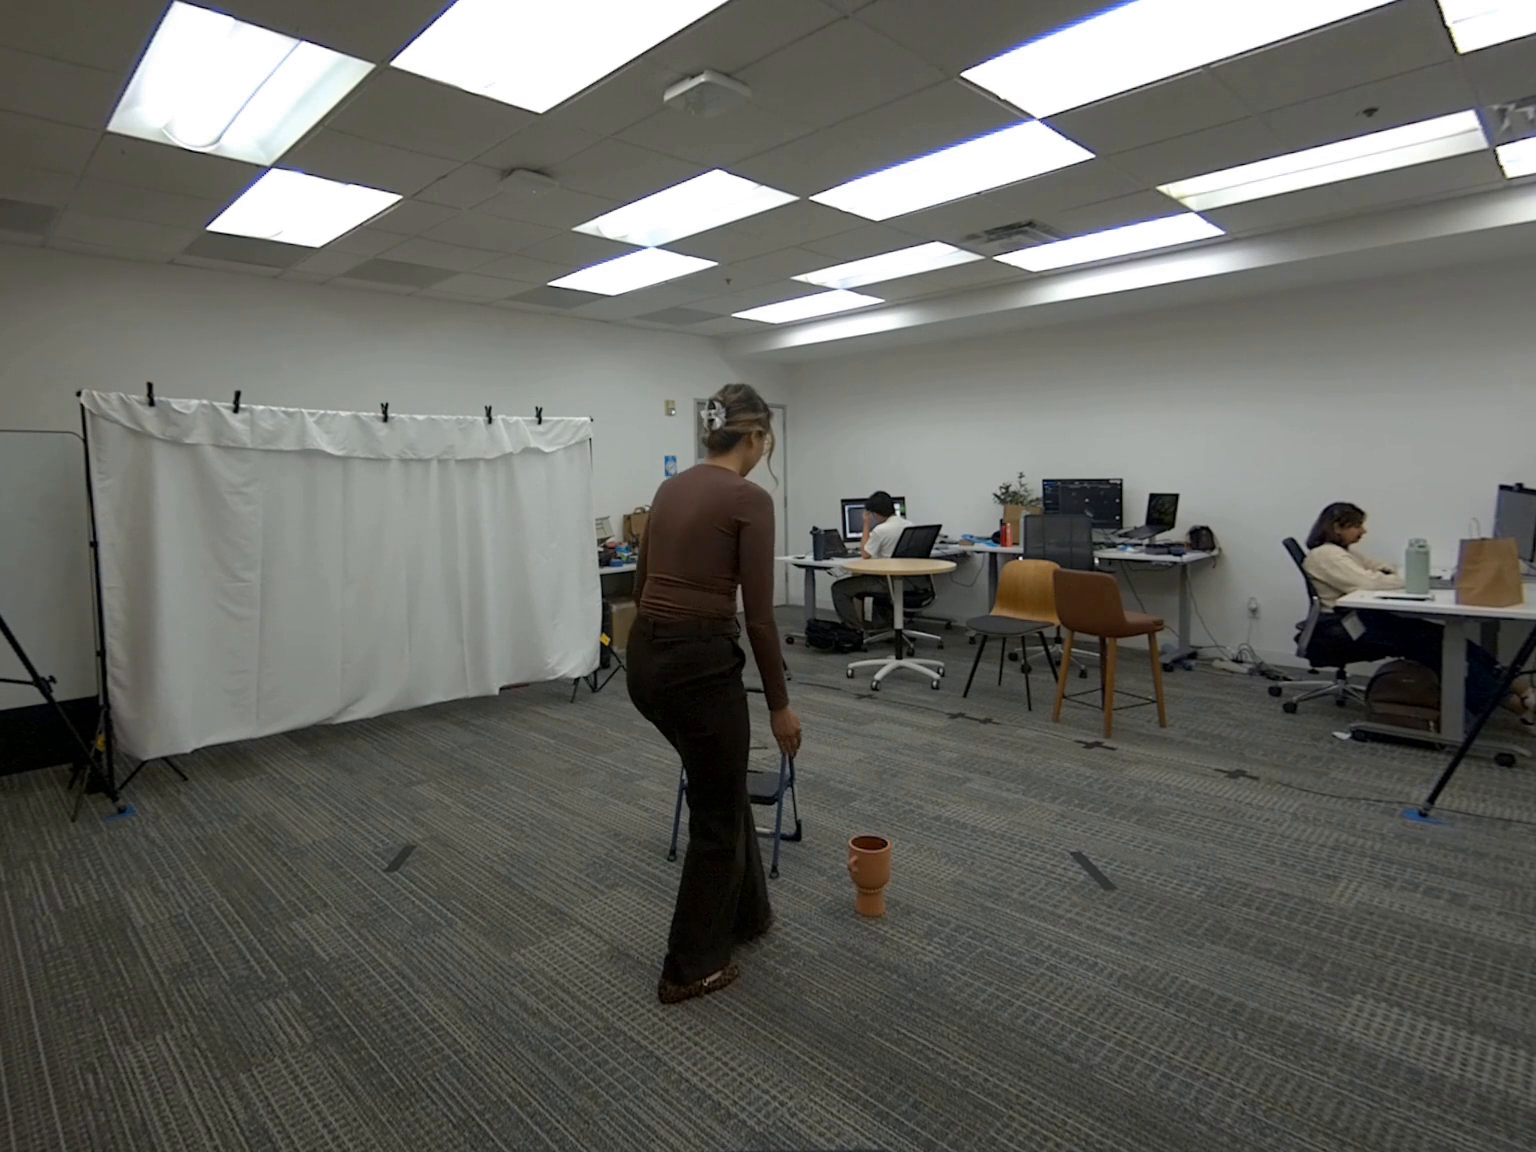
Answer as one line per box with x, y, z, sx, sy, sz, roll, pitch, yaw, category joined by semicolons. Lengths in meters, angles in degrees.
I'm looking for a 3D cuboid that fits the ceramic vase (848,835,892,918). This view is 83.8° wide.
0.336;0.965;2.746;0.159;0.219;0.135;-1;5;-1;ceramic vase
